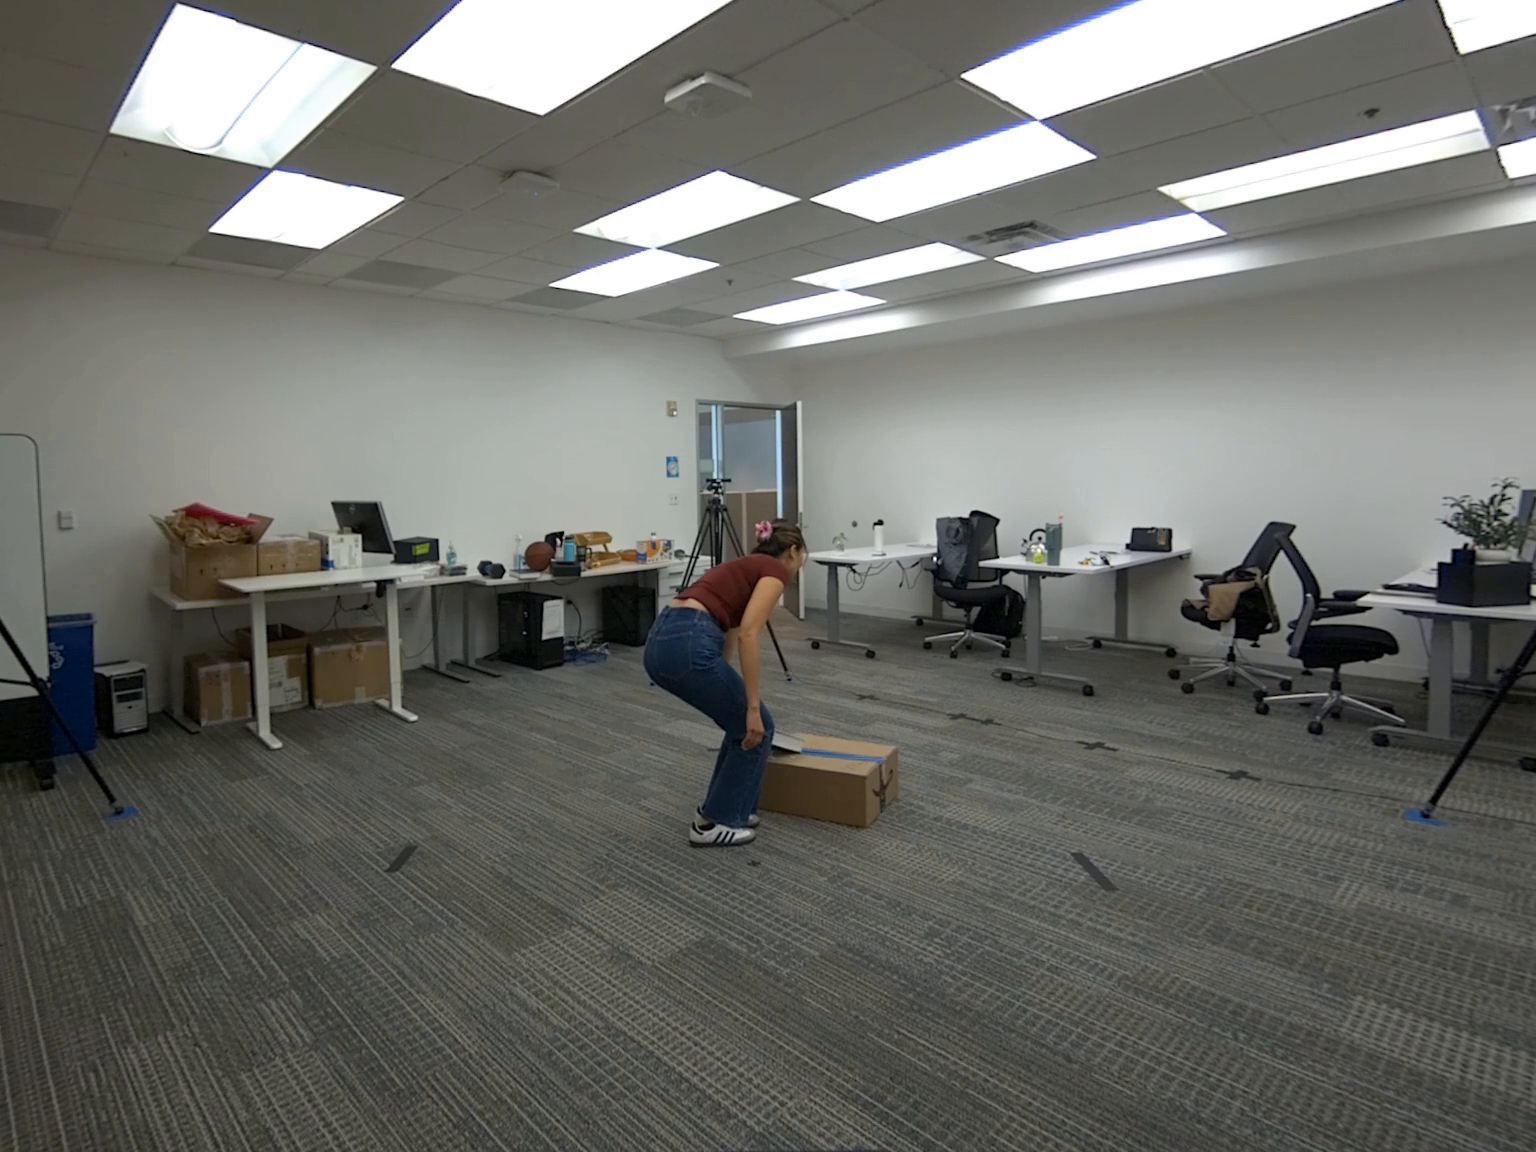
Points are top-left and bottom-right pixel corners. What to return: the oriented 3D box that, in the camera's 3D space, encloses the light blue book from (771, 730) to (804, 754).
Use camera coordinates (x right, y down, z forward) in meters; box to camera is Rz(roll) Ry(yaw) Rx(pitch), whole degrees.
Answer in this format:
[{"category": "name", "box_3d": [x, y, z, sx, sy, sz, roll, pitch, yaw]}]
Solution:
[{"category": "light blue book", "box_3d": [0.017, 0.696, 3.707, 0.197, 0.059, 0.251, 9, -13, 45]}]
